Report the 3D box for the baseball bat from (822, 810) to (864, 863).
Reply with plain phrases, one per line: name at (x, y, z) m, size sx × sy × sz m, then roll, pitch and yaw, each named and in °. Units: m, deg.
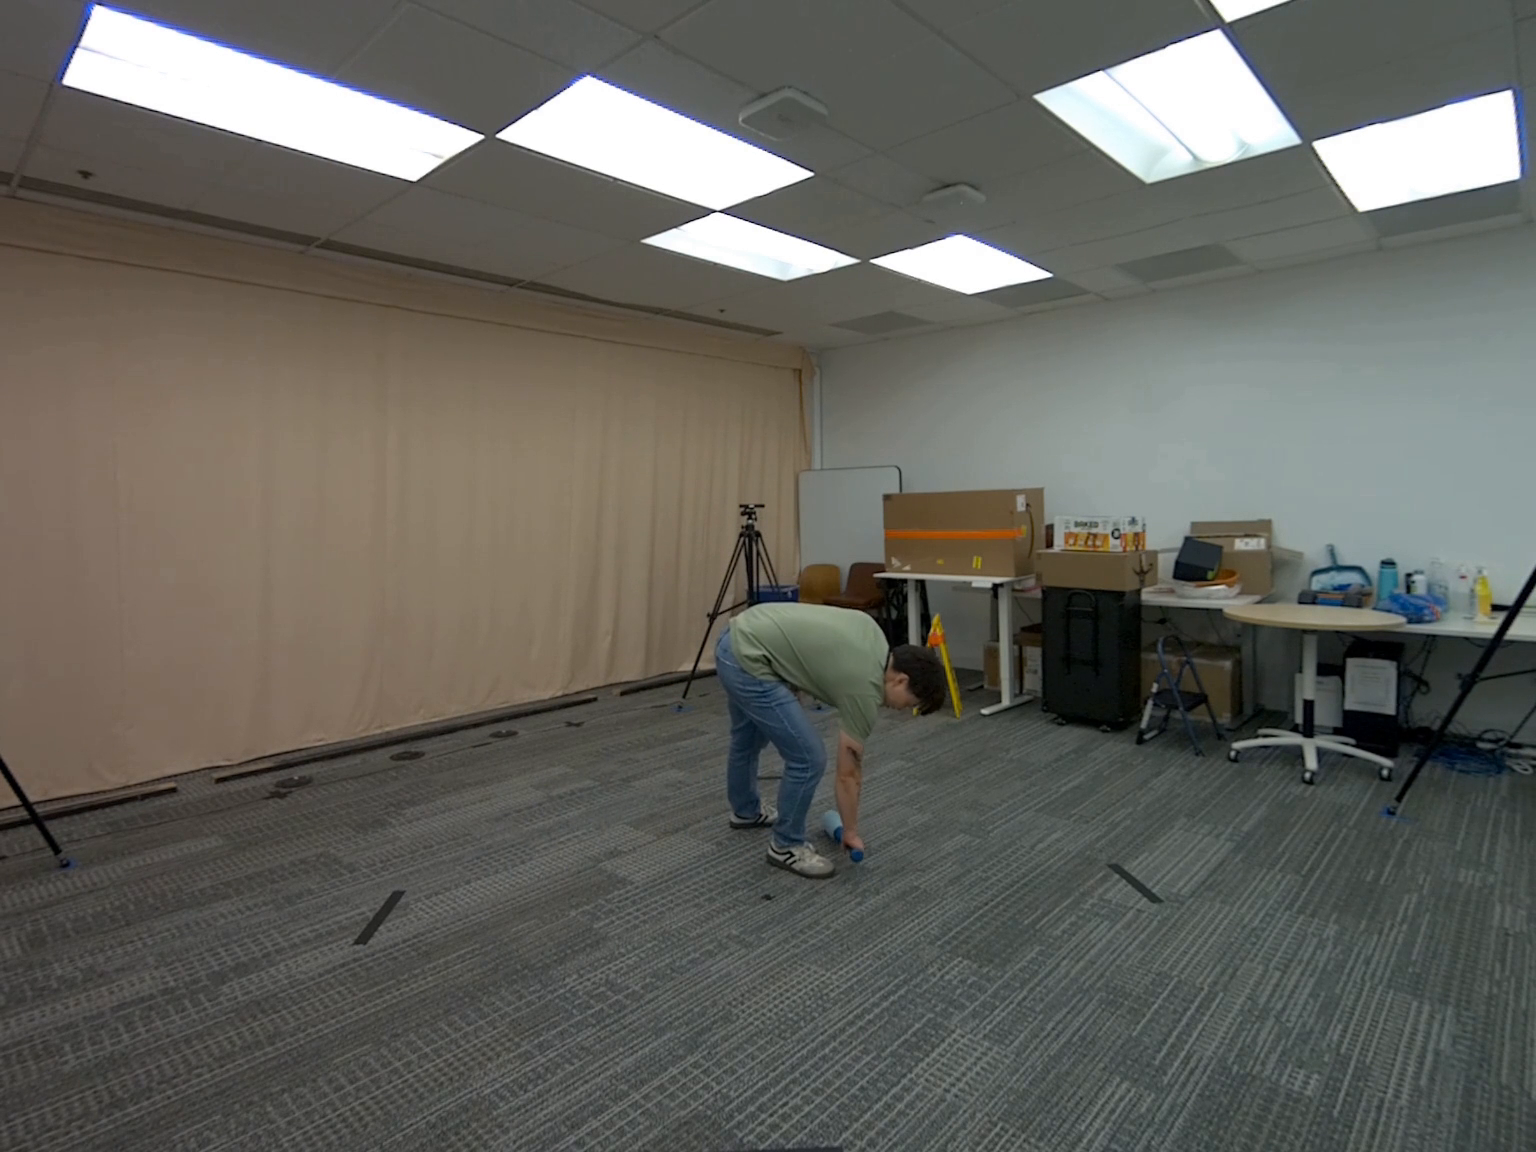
baseball bat at (0.304, 1.030, 3.315) m, size 0.088 × 0.089 × 0.545 m, roll -1°, pitch -1°, yaw -6°
